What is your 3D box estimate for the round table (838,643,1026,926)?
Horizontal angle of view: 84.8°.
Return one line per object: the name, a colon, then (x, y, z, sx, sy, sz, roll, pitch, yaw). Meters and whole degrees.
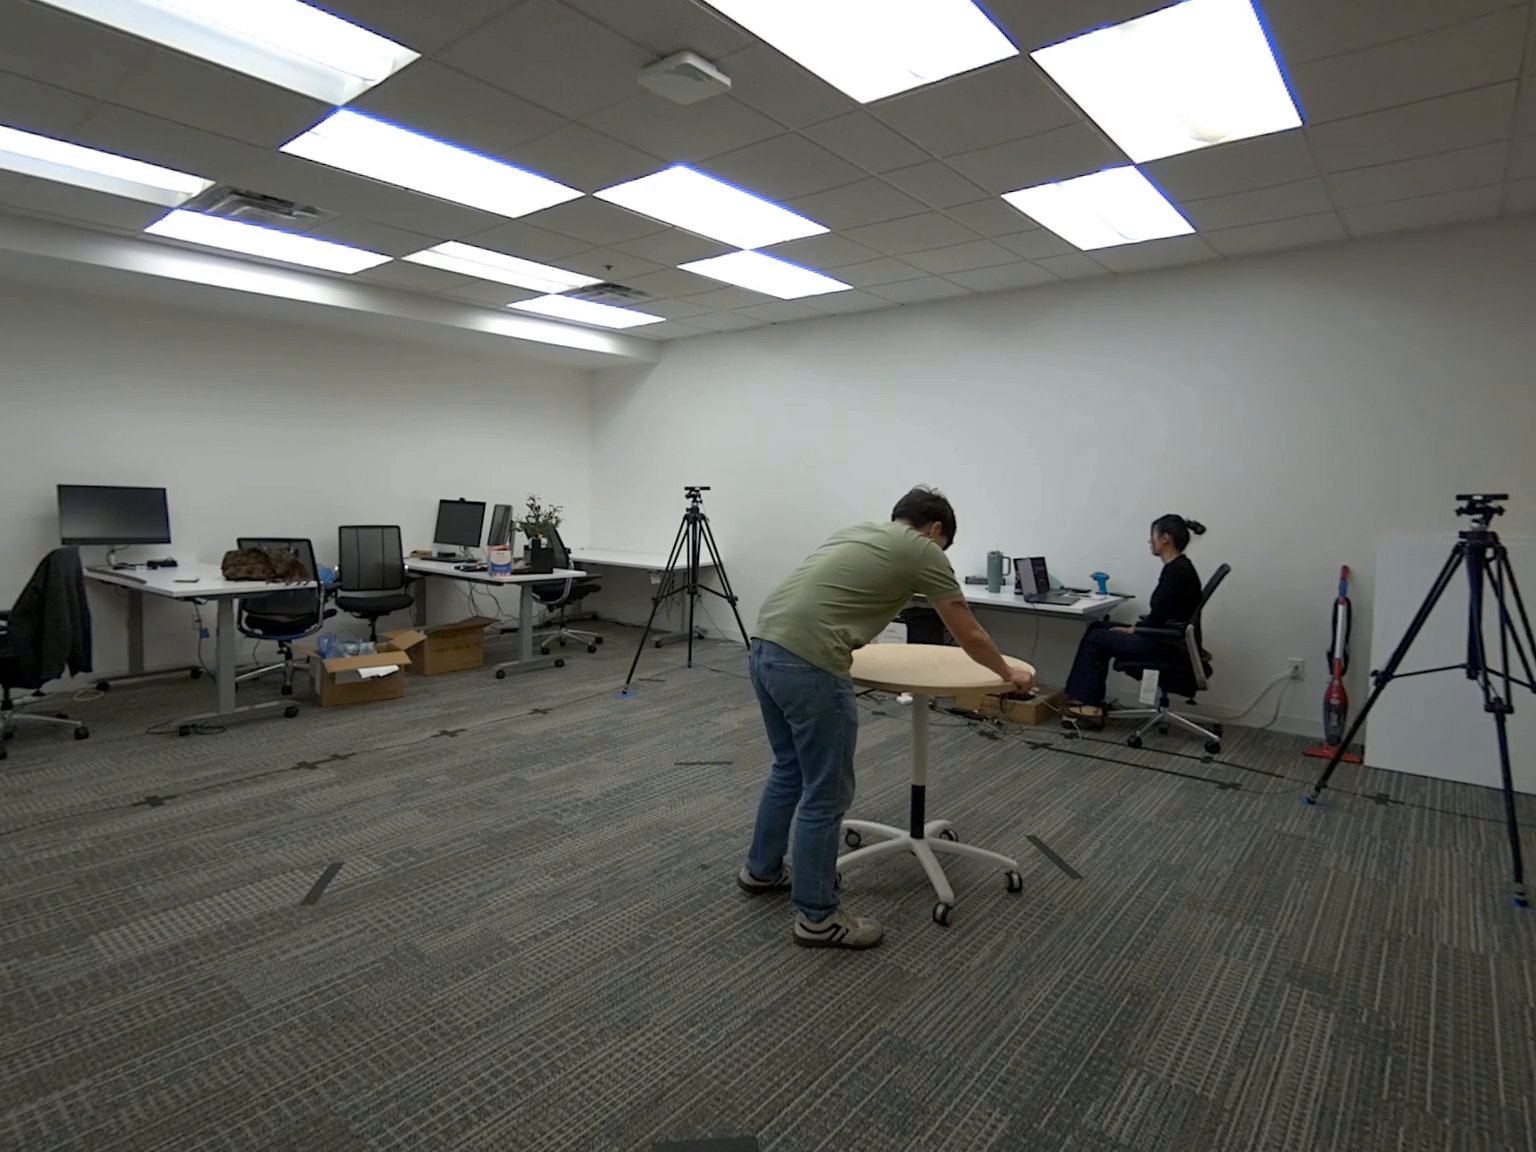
round table: (0.540, 0.698, 3.069, 0.763, 0.791, 0.768, 1, 4, -2)
